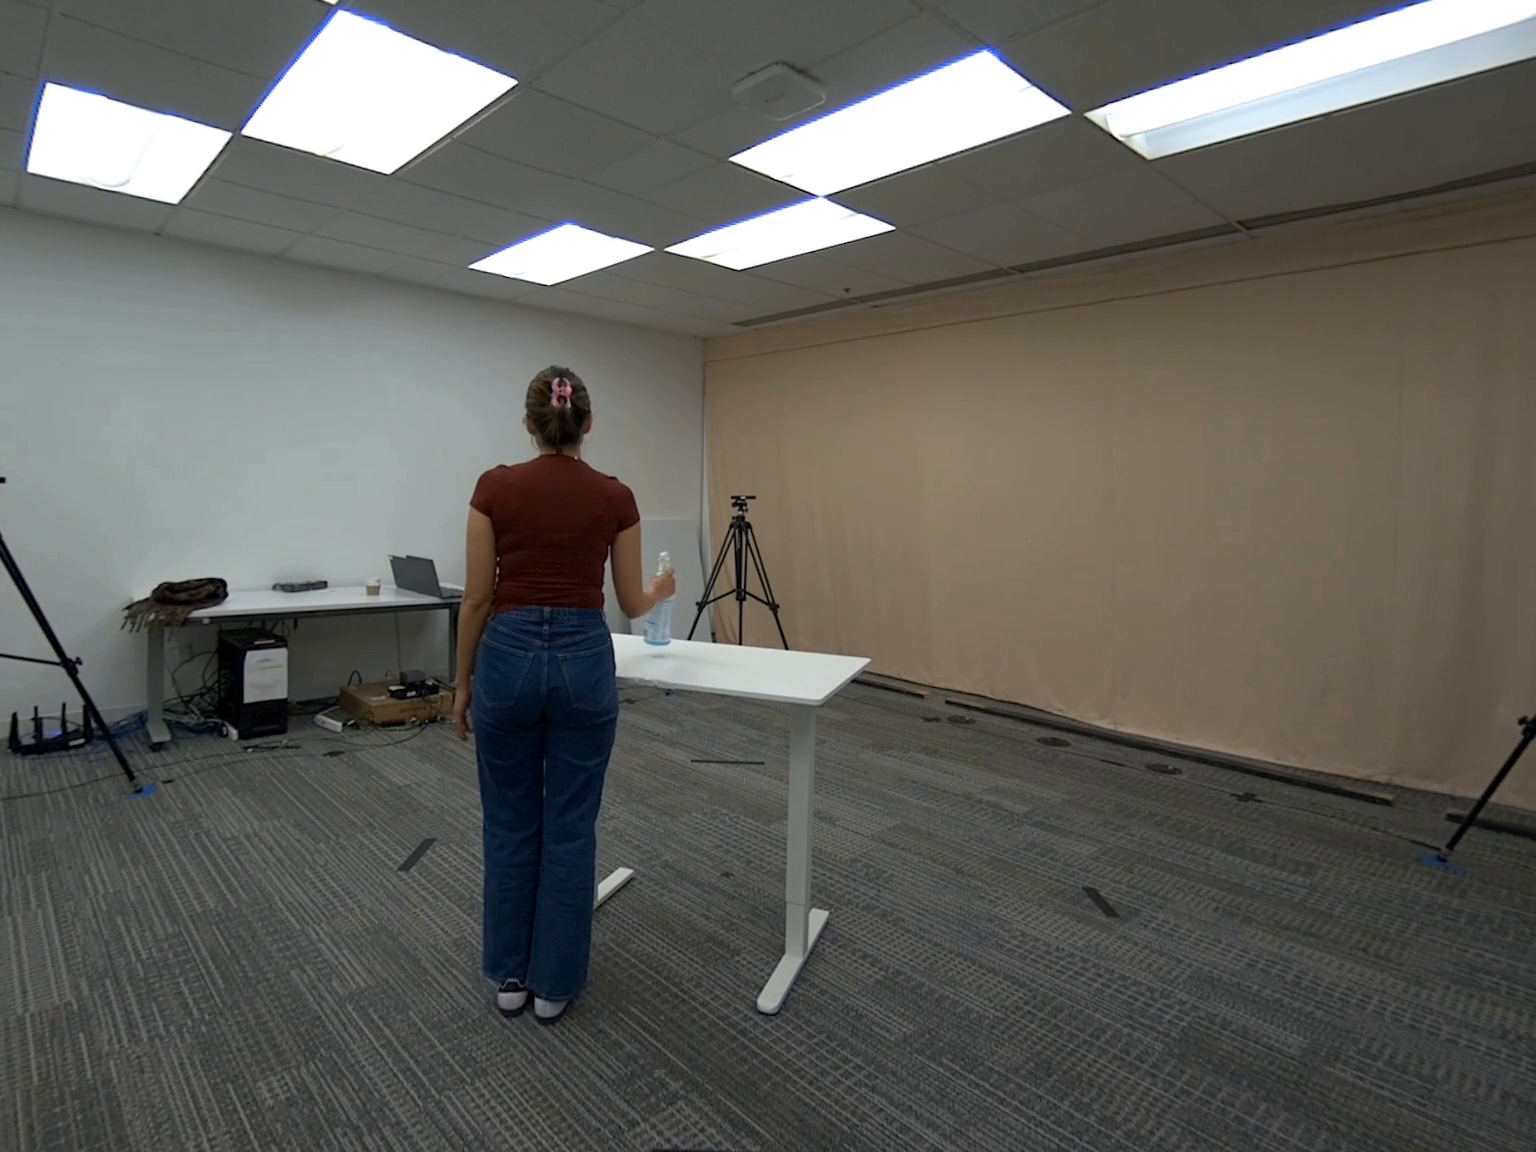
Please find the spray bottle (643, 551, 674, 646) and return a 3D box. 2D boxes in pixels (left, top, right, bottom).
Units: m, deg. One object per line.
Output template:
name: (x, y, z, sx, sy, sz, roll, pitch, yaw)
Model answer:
spray bottle: (-0.352, 0.072, 2.656, 0.089, 0.296, 0.088, 8, 9, 30)
